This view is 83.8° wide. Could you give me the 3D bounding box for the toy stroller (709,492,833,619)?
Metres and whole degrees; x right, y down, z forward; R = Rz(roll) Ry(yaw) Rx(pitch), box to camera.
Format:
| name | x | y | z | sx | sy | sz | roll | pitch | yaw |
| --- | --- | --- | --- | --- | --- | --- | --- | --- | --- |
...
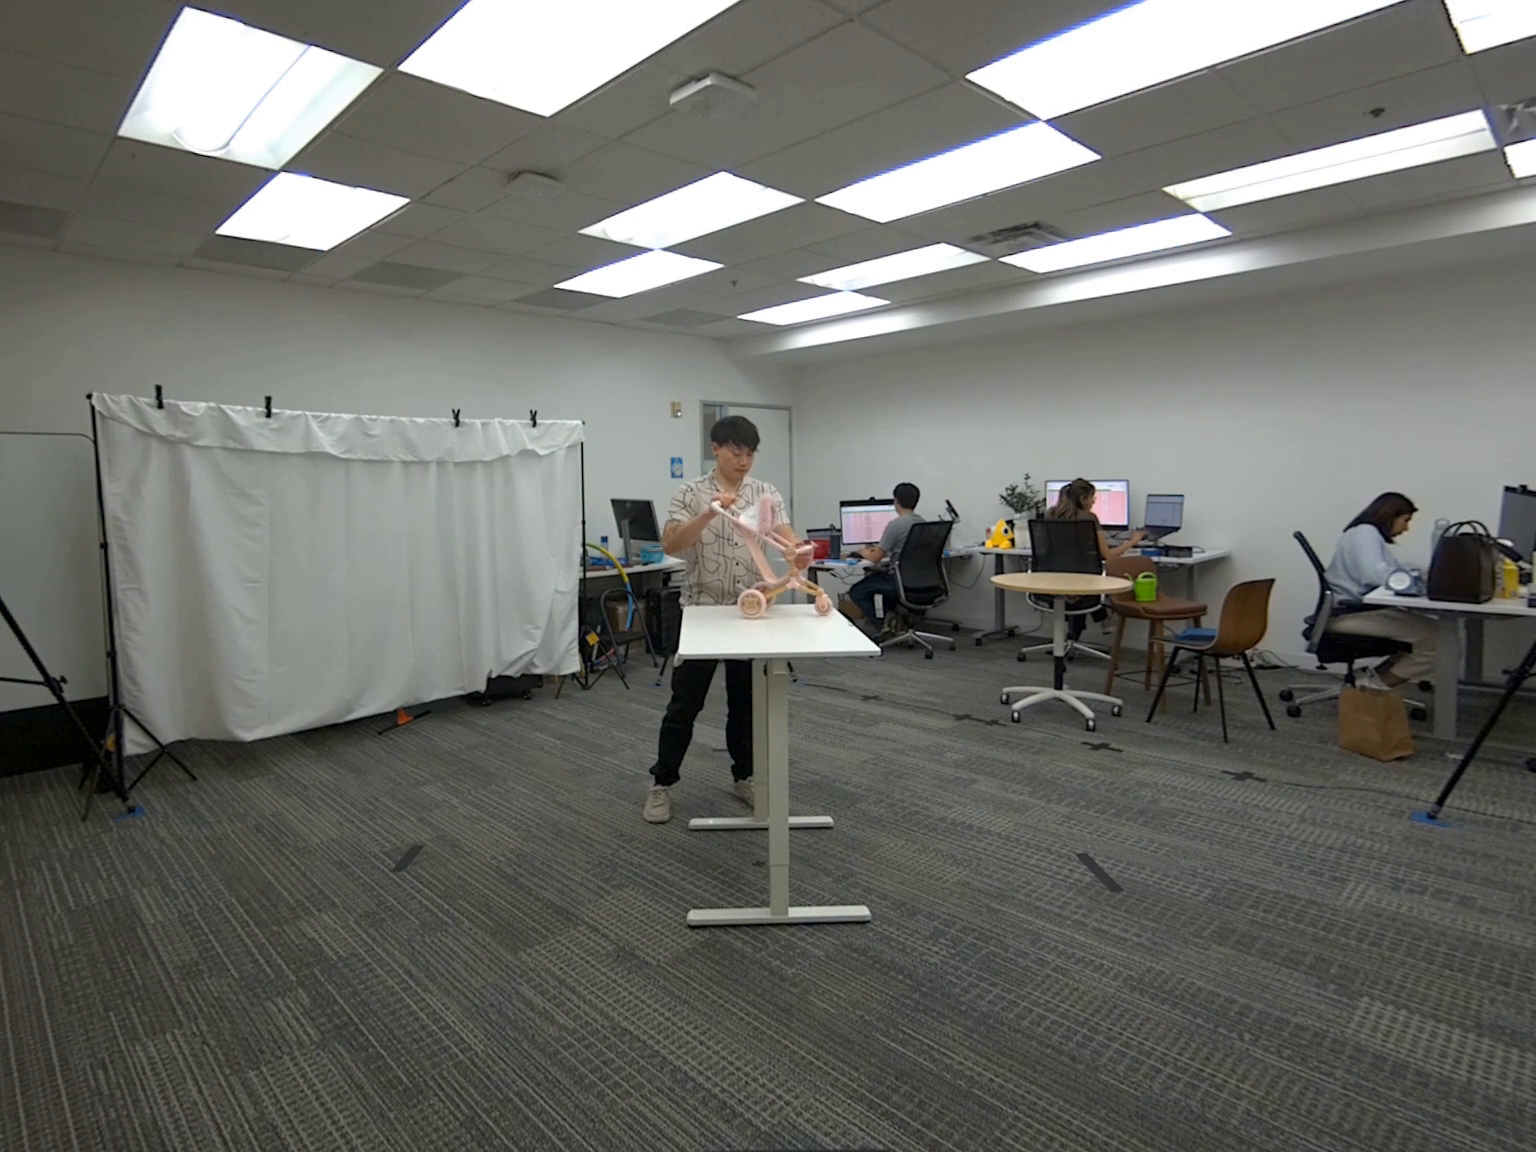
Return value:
| name | x | y | z | sx | sy | sz | roll | pitch | yaw |
| --- | --- | --- | --- | --- | --- | --- | --- | --- | --- |
| toy stroller | 0.014 | -0.076 | 3.261 | 0.345 | 0.536 | 0.278 | -15 | -1 | 18 |
